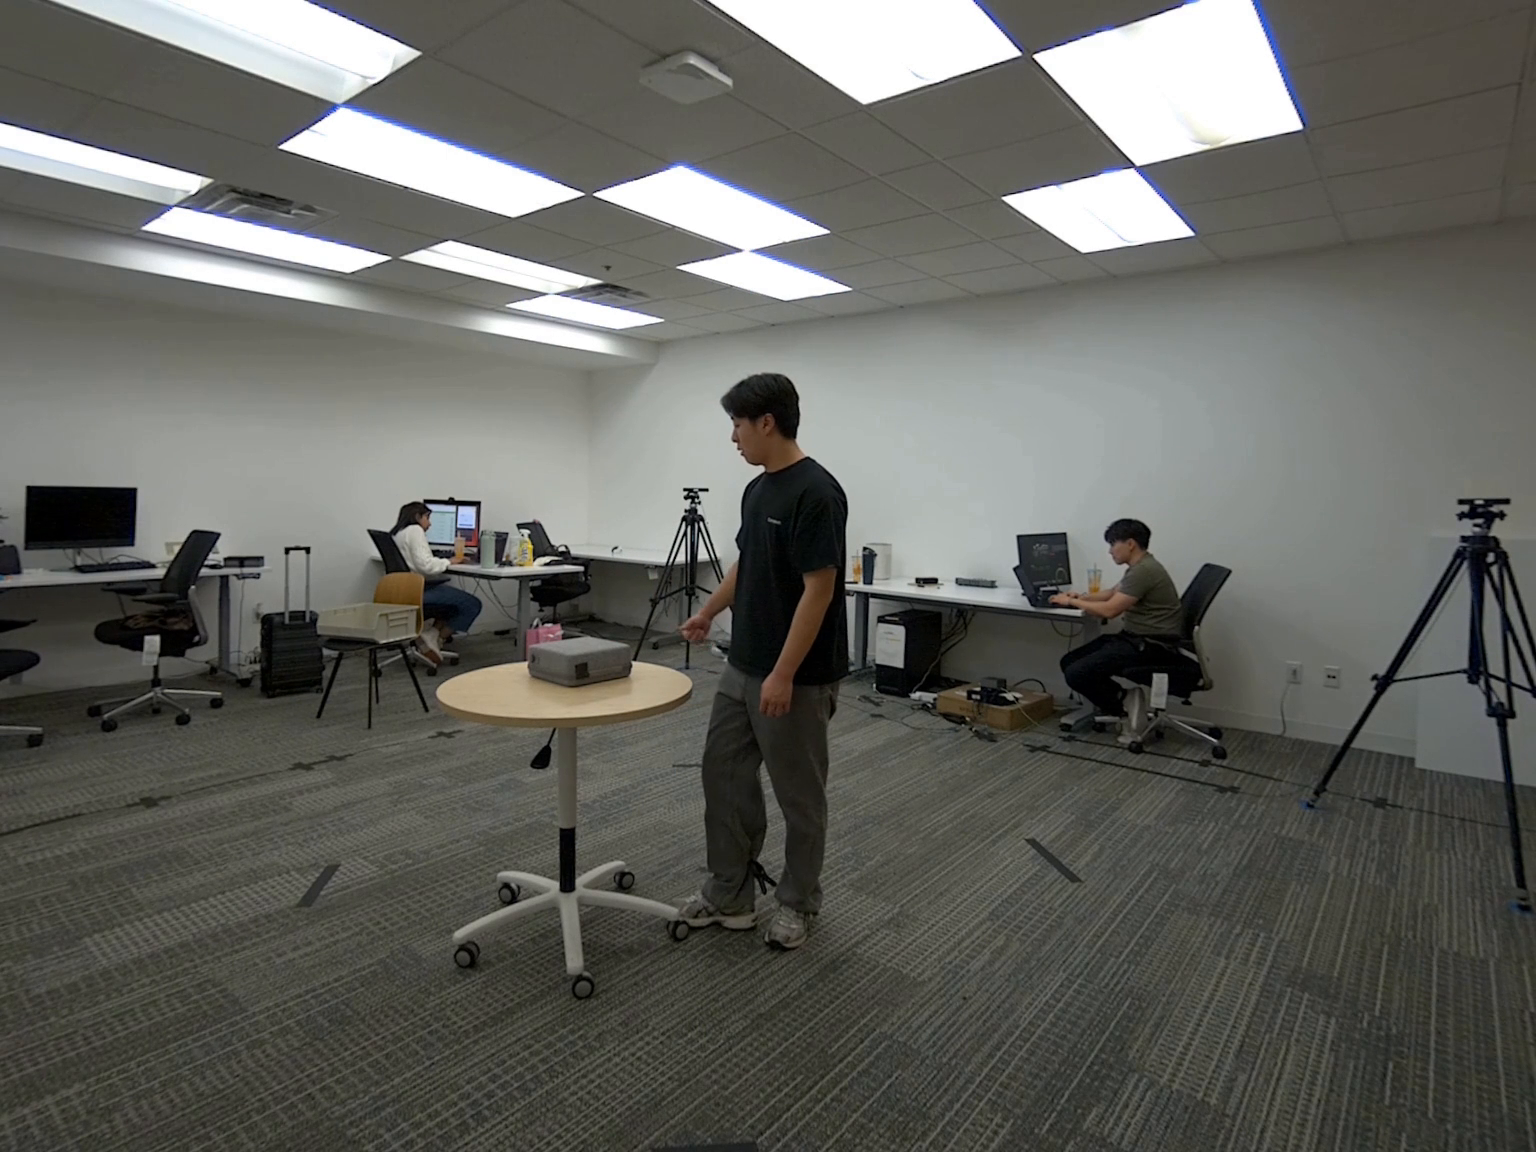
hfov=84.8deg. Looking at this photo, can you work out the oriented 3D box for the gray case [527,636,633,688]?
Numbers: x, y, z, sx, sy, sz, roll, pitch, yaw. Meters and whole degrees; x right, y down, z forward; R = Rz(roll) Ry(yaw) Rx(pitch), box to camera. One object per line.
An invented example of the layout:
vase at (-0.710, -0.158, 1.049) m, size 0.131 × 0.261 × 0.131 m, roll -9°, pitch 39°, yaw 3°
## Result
gray case at (-0.618, 0.265, 2.726) m, size 0.297 × 0.102 × 0.255 m, roll 6°, pitch 9°, yaw 43°
